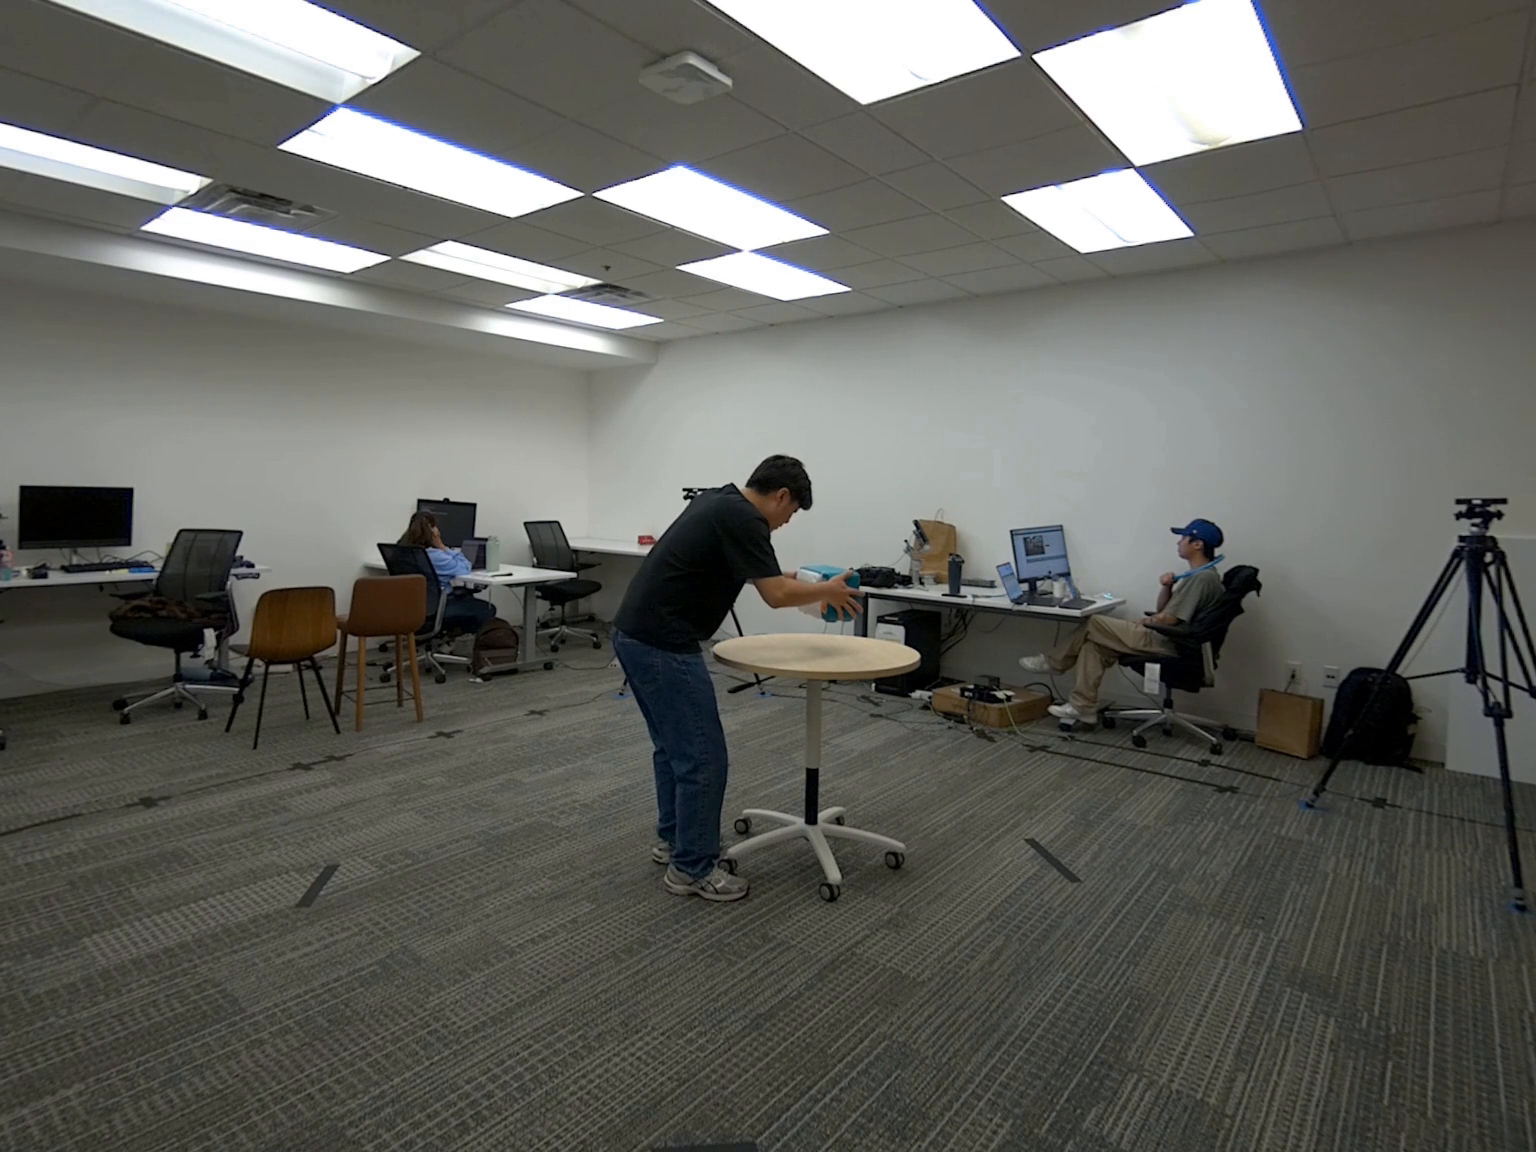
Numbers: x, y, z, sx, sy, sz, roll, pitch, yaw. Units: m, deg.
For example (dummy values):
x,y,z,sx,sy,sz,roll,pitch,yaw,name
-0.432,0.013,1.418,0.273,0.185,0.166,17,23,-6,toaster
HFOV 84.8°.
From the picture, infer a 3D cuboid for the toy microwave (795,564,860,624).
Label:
x,y,z,sx,sy,sz,roll,pitch,yaw,name
0.209,0.060,3.181,0.149,0.183,0.293,-4,7,-21,toy microwave
